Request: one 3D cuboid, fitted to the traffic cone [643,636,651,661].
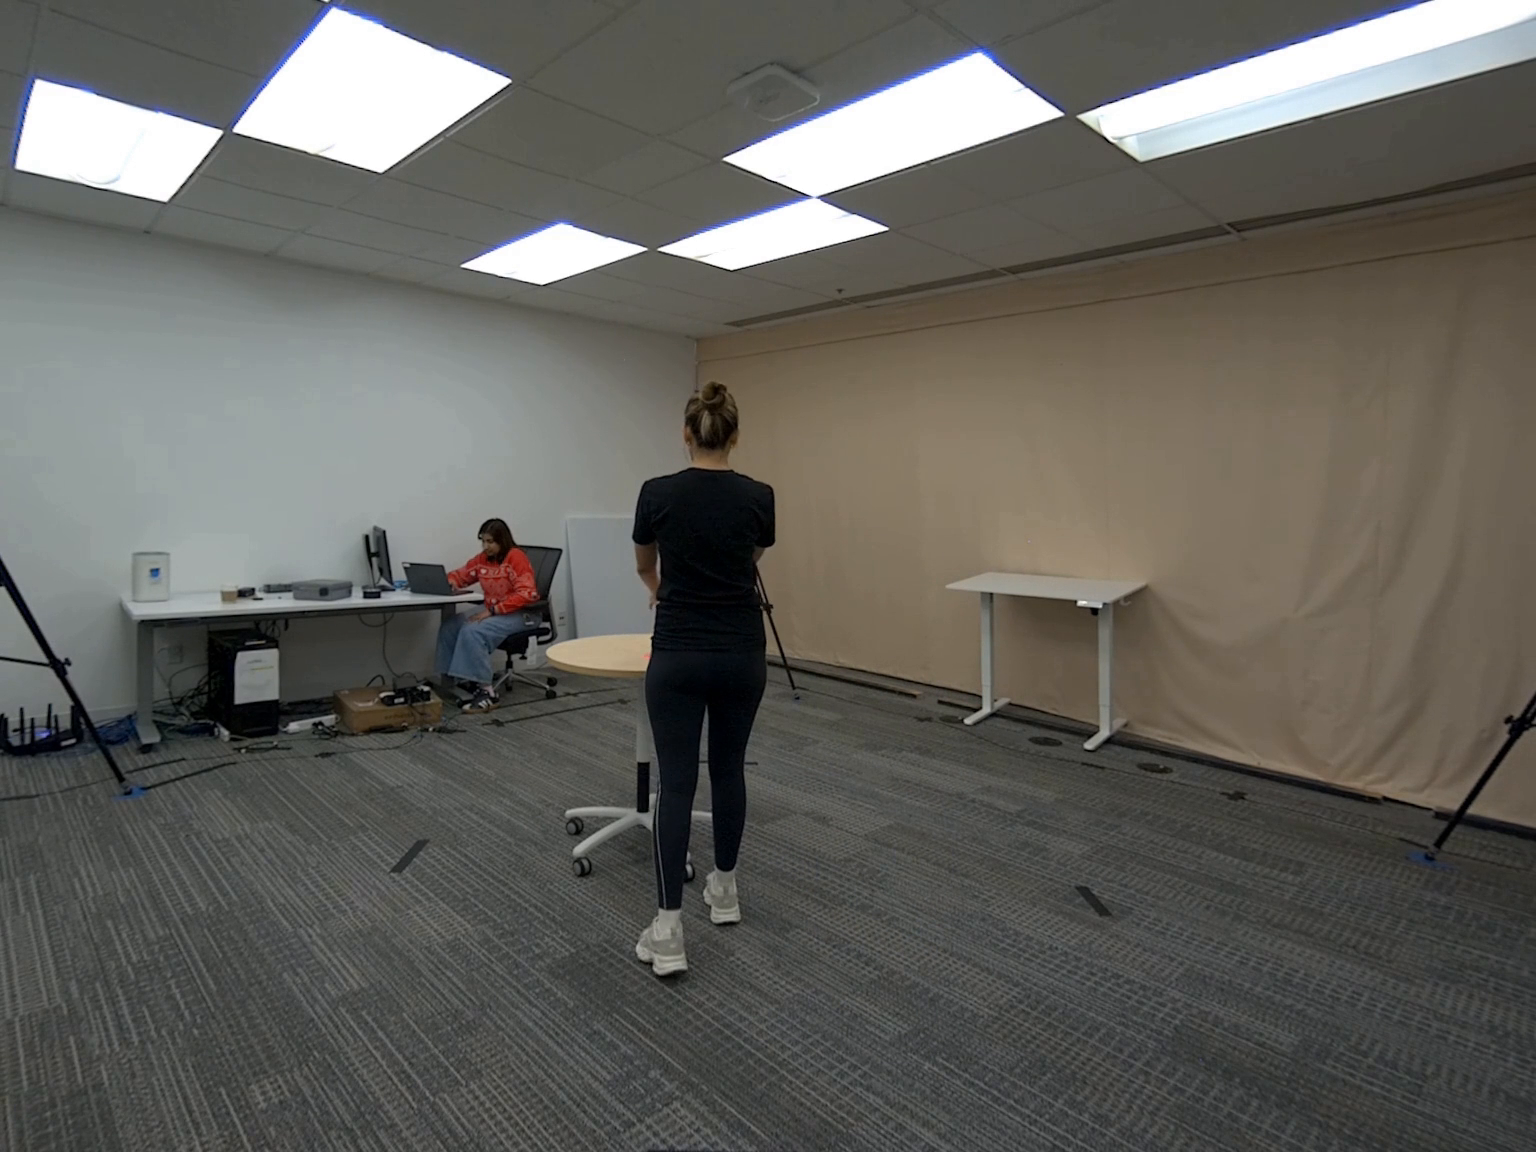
[{"bbox_3d":[-0.351,0.121,3.211,0.209,0.383,0.199,3,2,27],"label":"traffic cone"}]
